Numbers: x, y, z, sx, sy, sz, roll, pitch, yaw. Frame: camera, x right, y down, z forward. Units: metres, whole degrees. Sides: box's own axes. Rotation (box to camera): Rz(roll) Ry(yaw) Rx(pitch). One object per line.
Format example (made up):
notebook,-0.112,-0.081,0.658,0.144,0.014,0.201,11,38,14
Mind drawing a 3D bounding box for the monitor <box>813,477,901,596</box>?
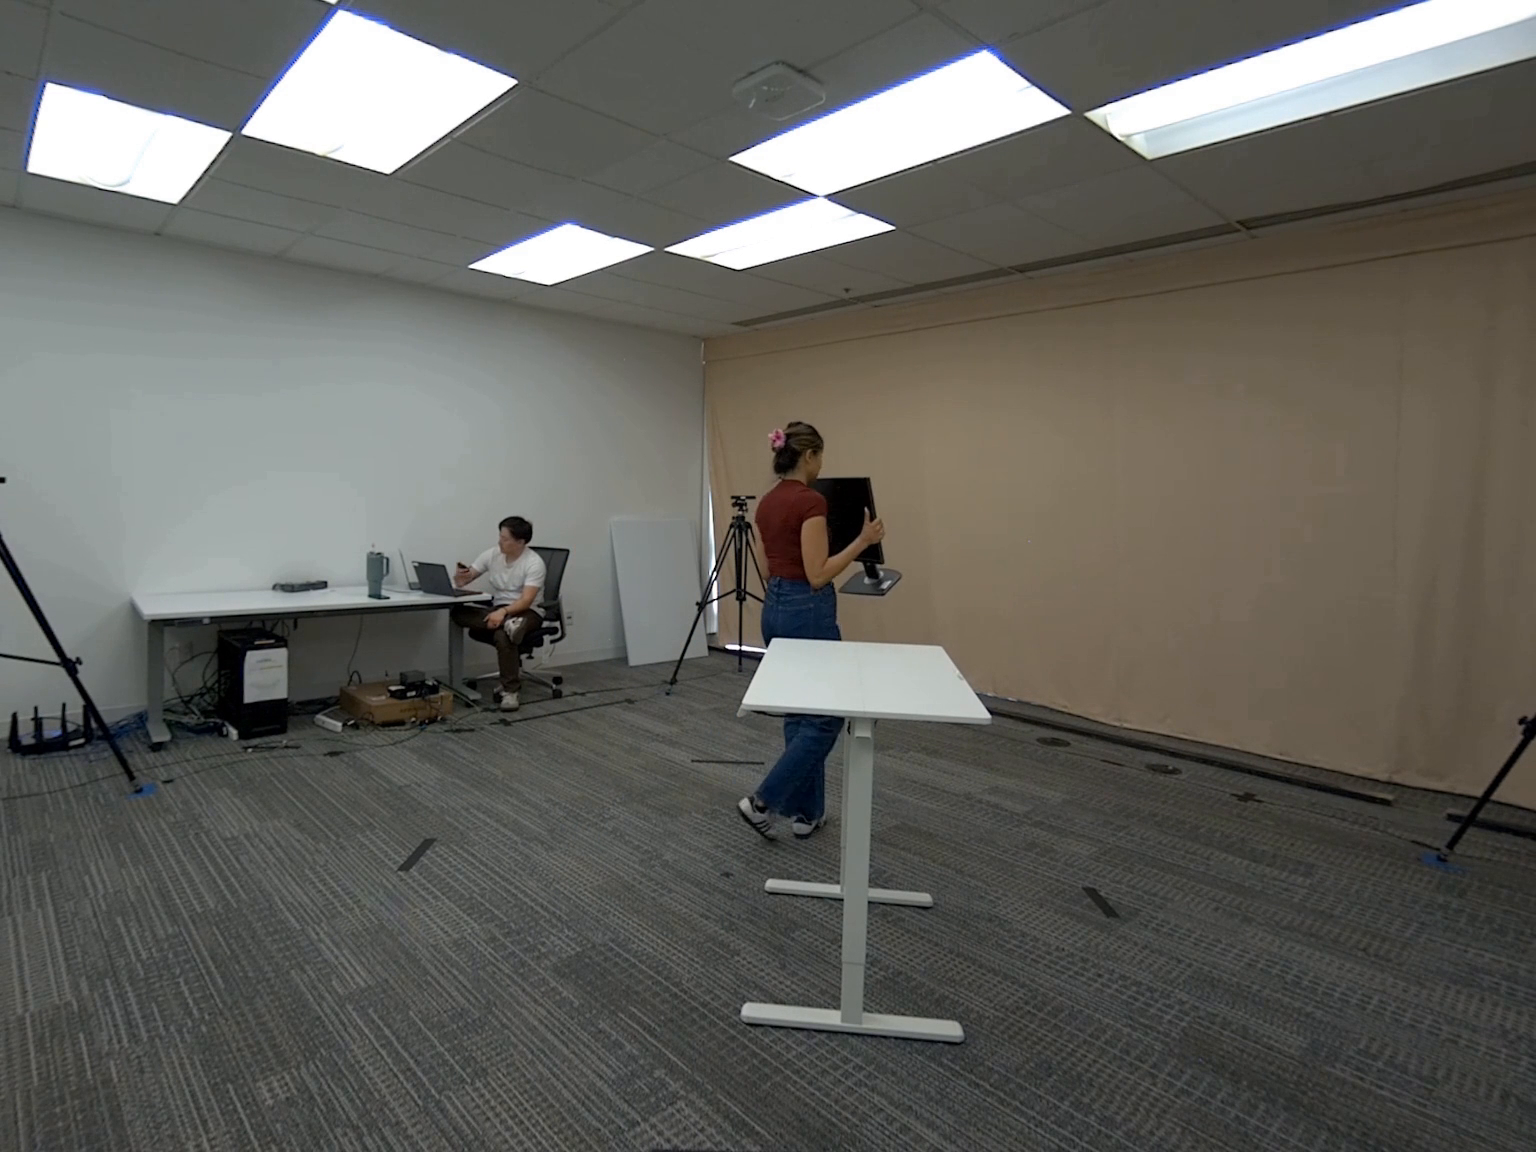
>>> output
monitor,0.327,-0.177,3.552,0.186,0.513,0.552,-35,21,-27
